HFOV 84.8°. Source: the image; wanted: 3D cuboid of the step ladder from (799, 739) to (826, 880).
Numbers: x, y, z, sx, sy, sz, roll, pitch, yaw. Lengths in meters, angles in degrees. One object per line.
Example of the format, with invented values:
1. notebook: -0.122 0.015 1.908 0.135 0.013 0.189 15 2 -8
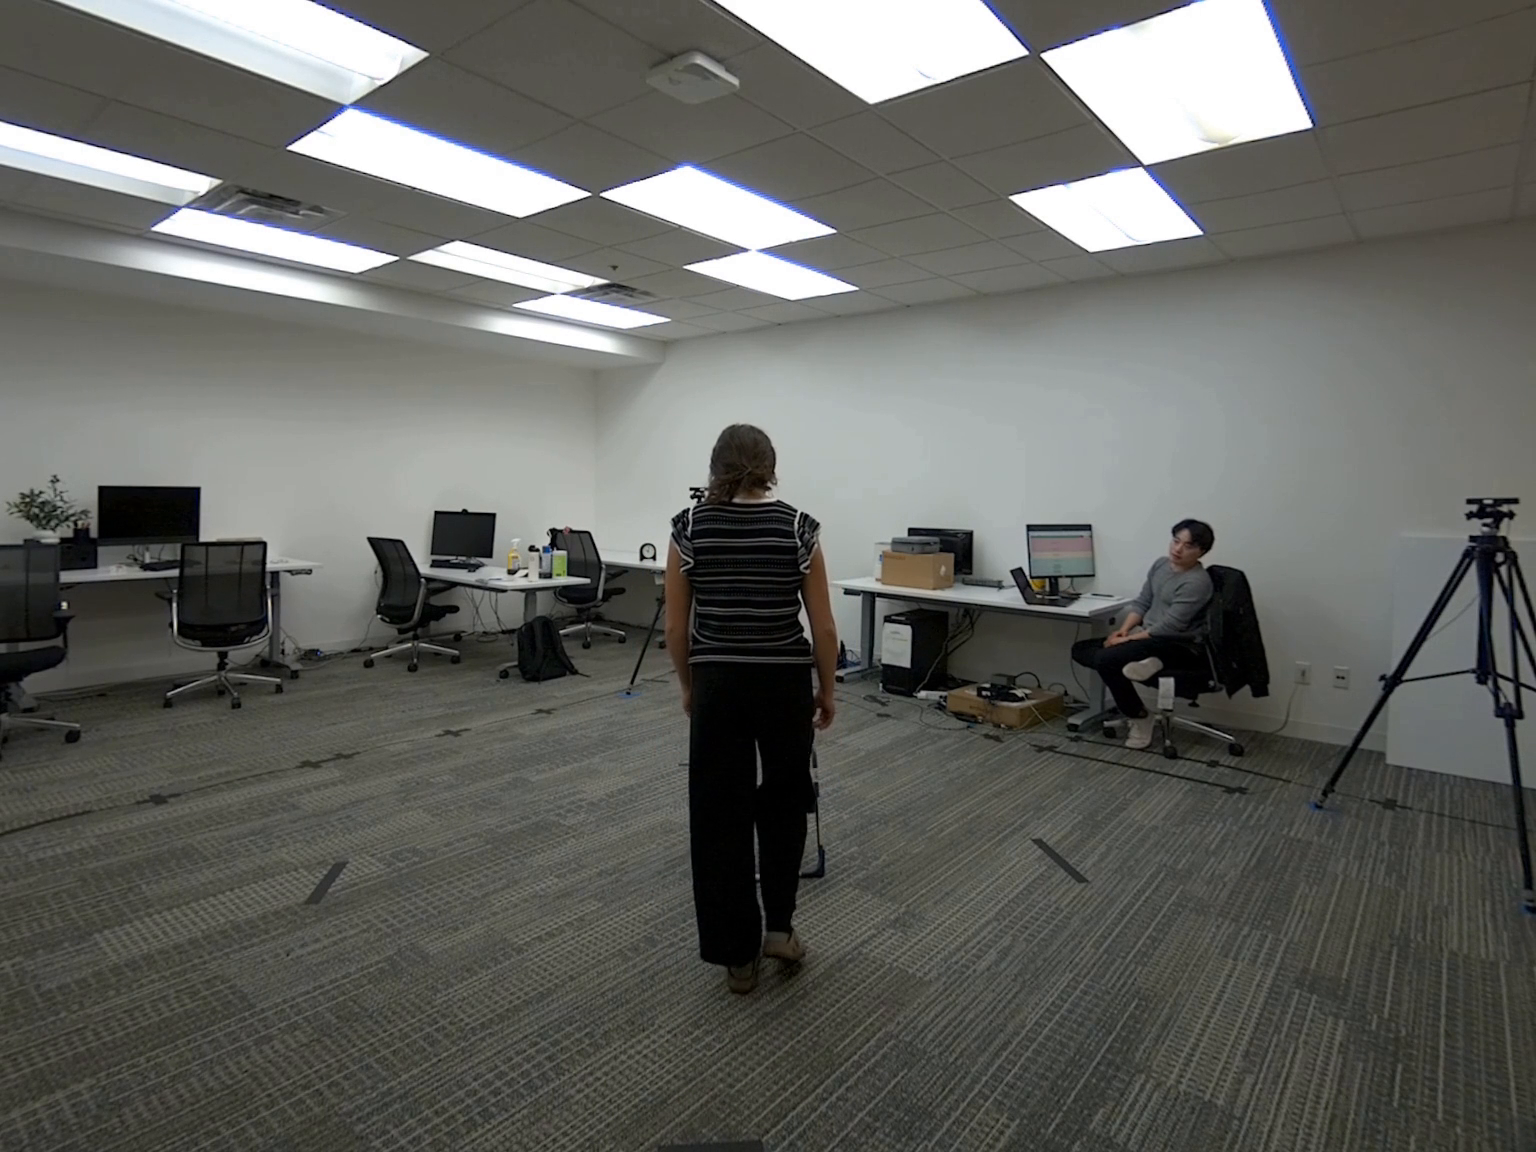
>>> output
1. step ladder: -0.043 0.760 3.155 0.423 0.604 0.356 0 4 -17
